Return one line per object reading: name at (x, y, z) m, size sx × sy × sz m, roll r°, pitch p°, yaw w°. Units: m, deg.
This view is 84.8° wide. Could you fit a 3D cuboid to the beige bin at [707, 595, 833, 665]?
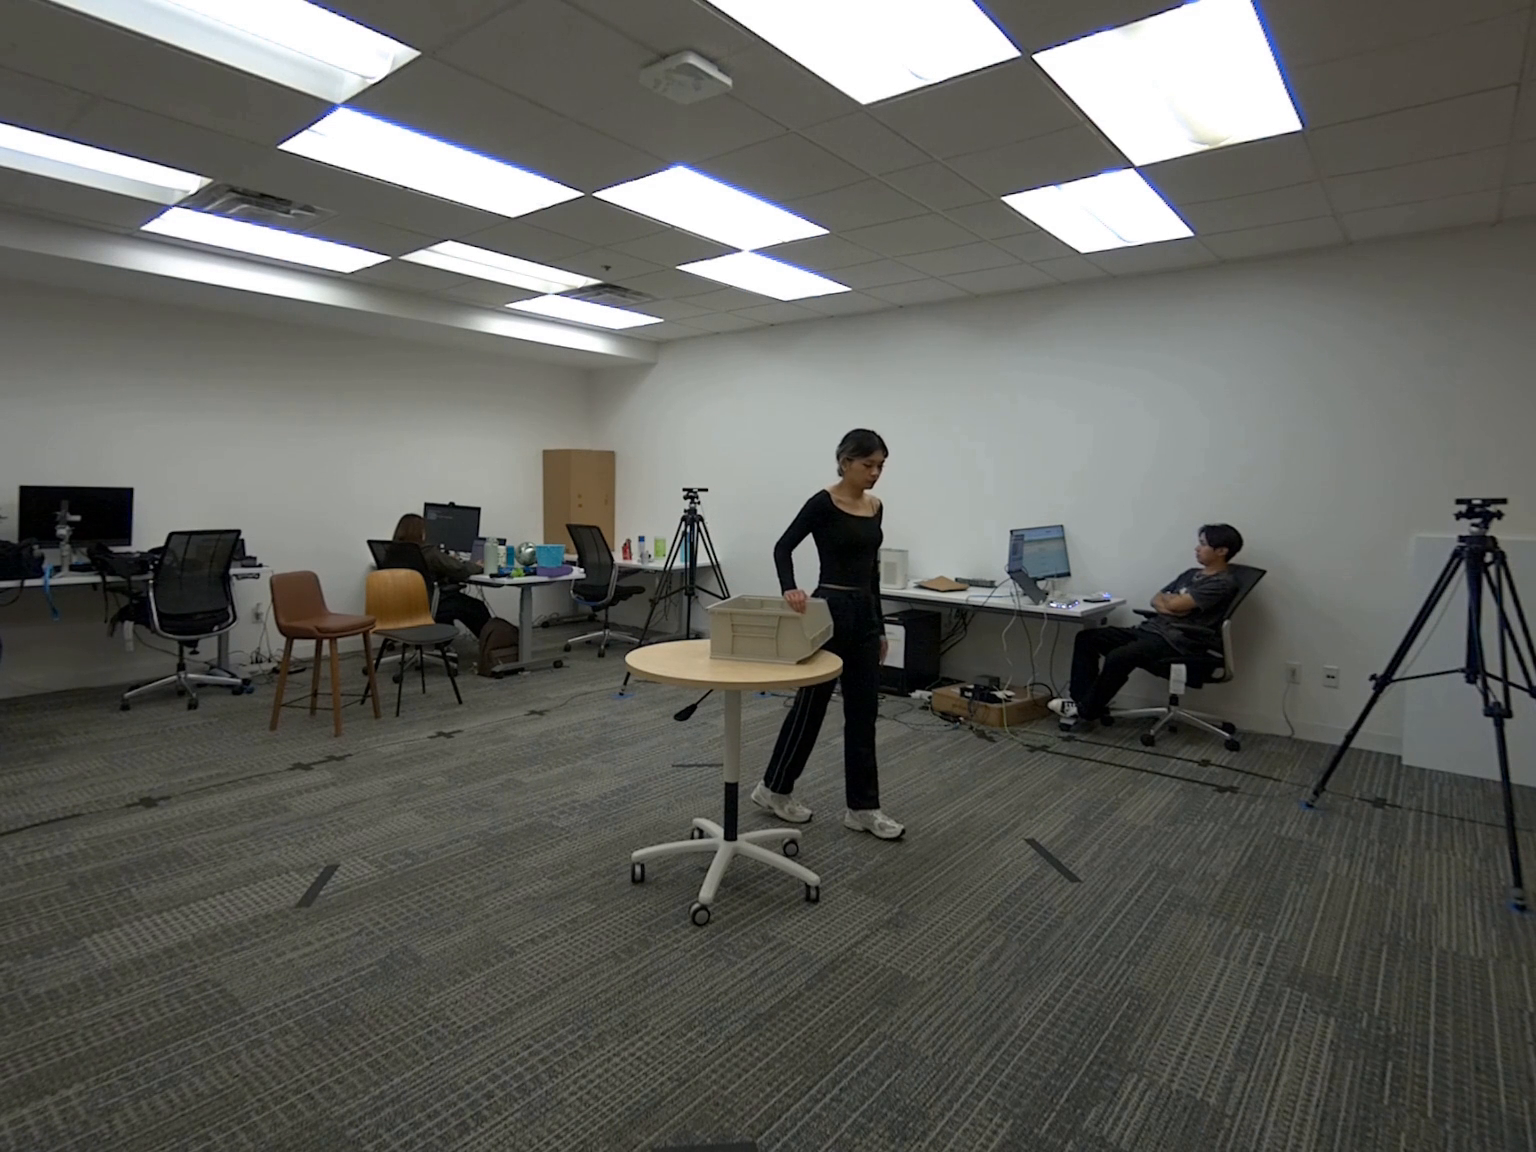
beige bin at (0.003, 0.183, 3.133) m, size 0.384 × 0.188 × 0.417 m, roll 0°, pitch 6°, yaw 16°
